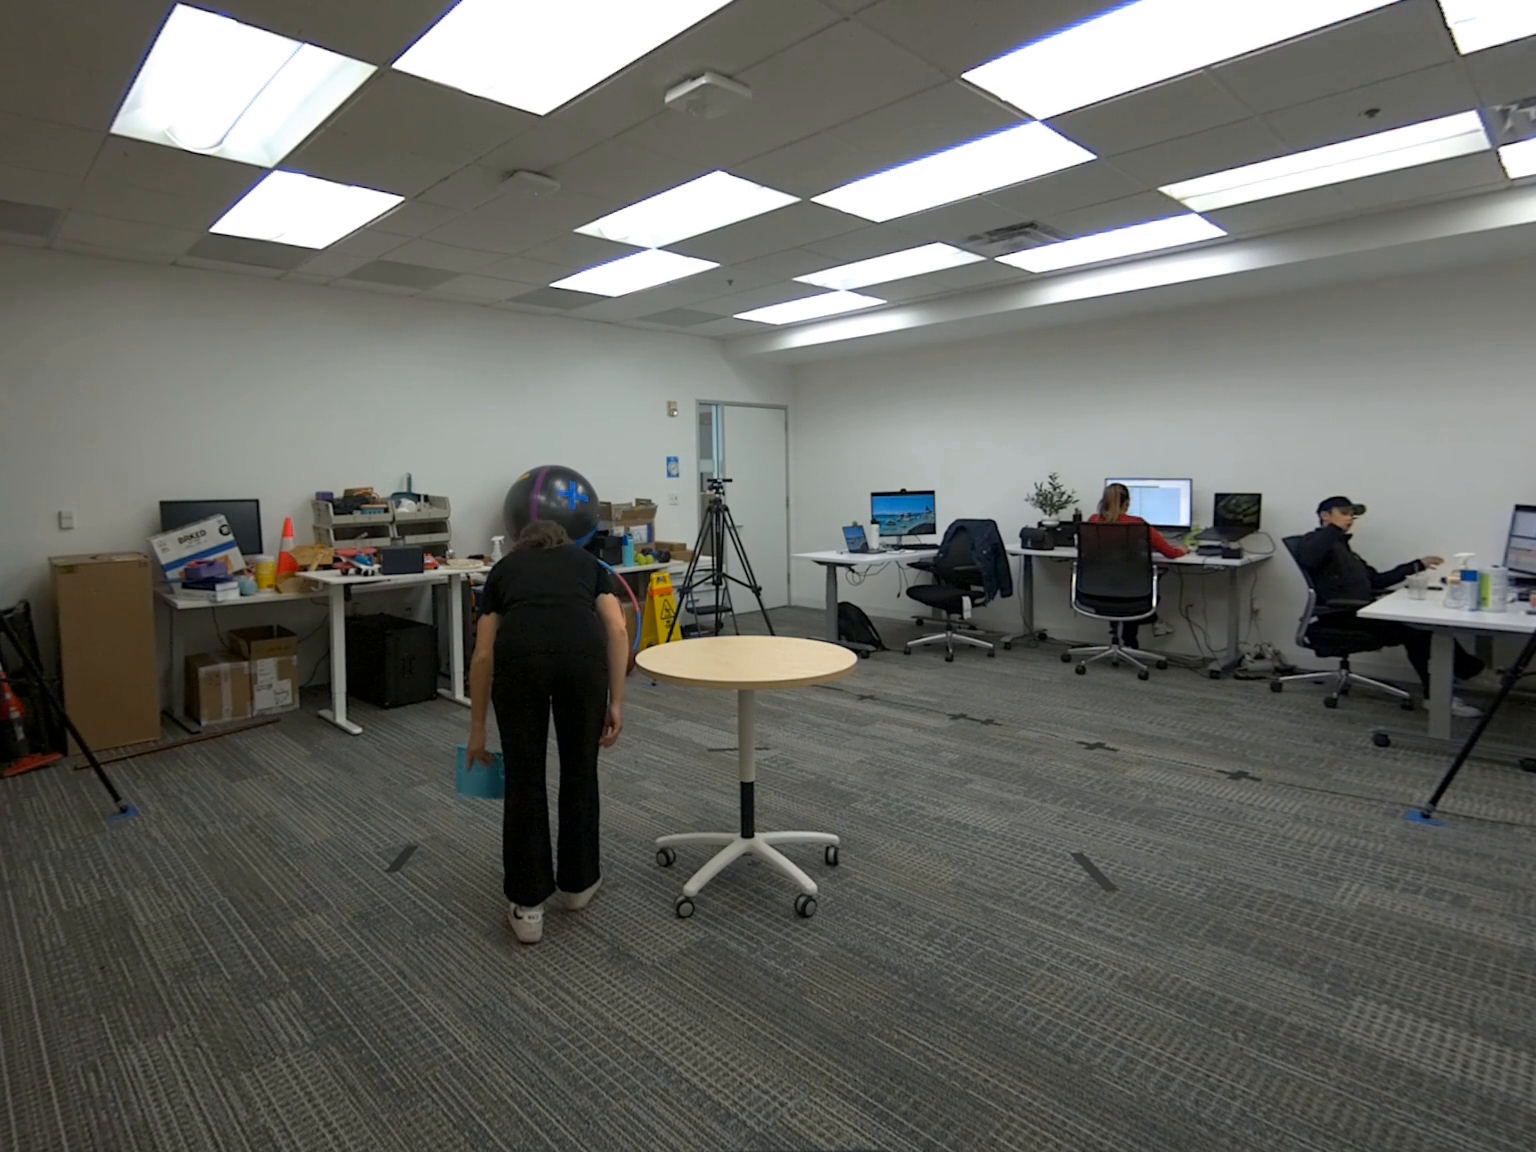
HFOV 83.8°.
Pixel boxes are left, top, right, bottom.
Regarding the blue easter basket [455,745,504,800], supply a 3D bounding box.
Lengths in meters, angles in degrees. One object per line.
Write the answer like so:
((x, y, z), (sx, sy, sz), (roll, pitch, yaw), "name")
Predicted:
((-0.955, 0.669, 2.919), (0.243, 0.157, 0.242), (5, -7, -1), "blue easter basket")
